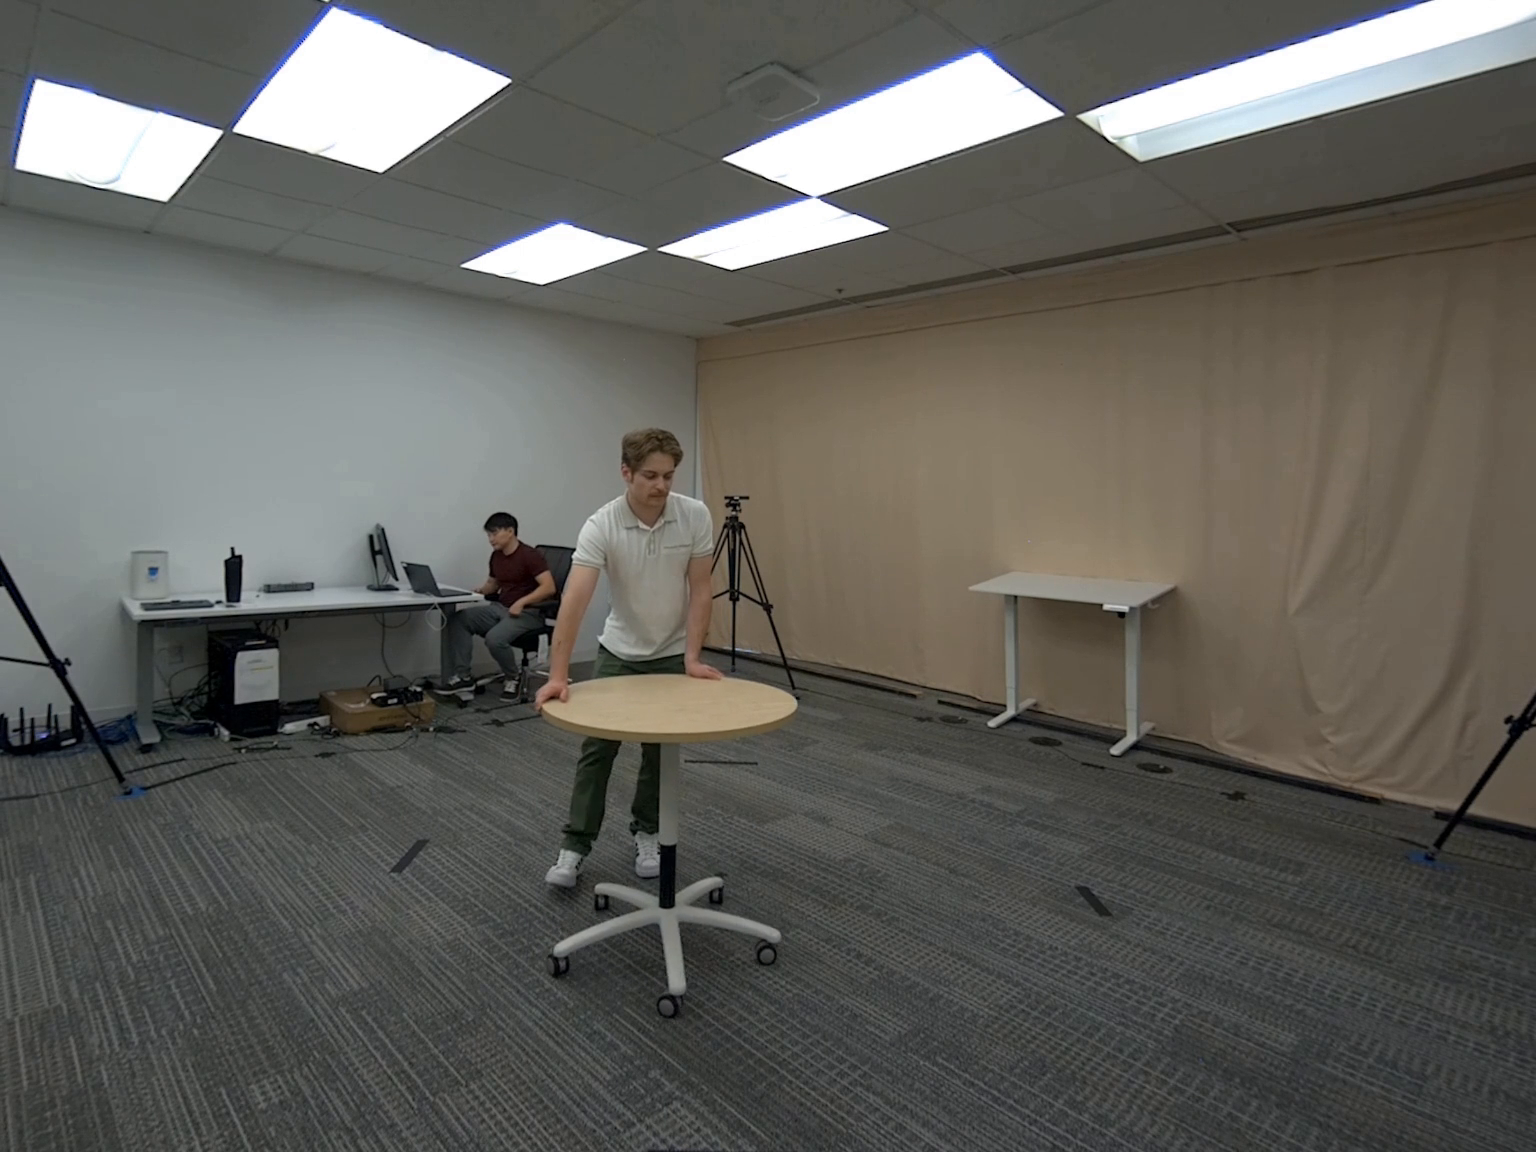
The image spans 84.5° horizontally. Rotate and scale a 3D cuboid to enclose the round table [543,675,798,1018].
[{"bbox_3d":[-0.304,0.765,2.561,0.763,0.792,0.766,1,4,-1],"label":"round table"}]
